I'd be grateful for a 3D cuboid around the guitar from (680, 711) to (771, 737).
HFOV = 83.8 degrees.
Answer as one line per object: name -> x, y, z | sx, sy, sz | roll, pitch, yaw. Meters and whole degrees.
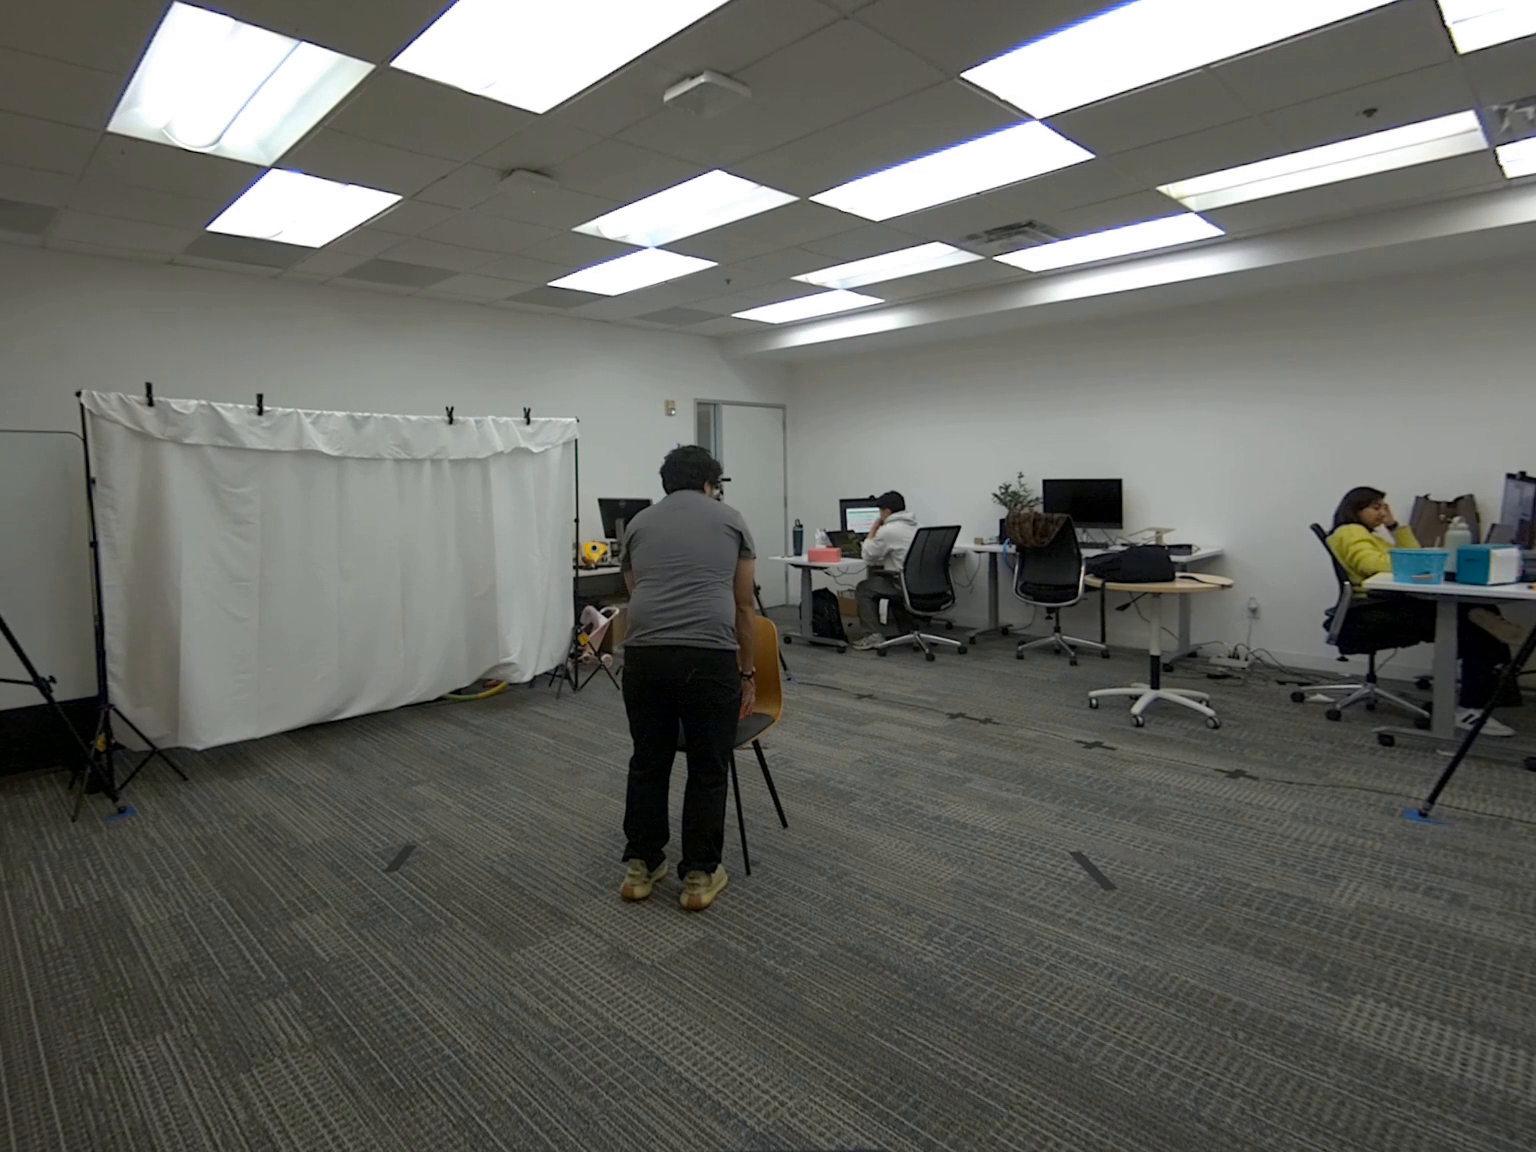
guitar -> -0.276, 0.443, 3.201 | 0.515, 0.070, 0.188 | 13, 13, 40
